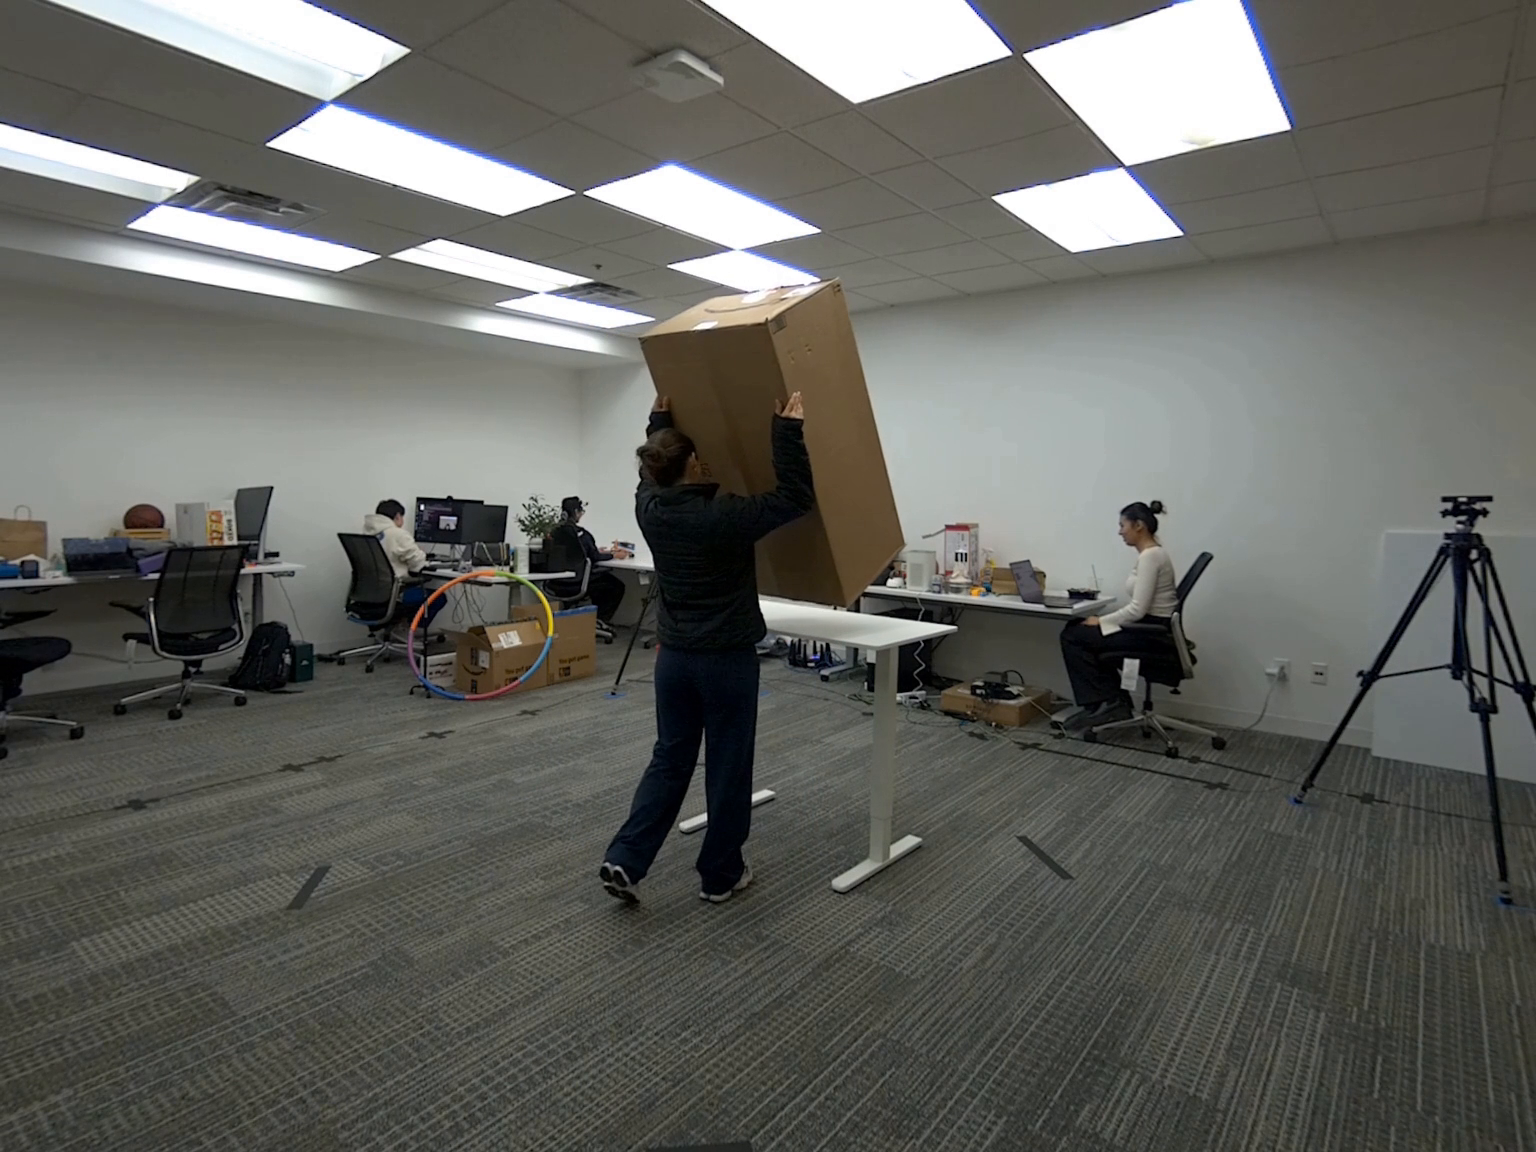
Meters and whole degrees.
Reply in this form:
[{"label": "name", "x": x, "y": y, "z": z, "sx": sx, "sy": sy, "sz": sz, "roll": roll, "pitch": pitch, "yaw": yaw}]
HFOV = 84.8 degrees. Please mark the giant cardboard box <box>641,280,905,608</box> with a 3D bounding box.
[{"label": "giant cardboard box", "x": 0.044, "y": -0.460, "z": 3.035, "sx": 0.604, "sy": 1.000, "sz": 0.443, "roll": 7, "pitch": 34, "yaw": 43}]
